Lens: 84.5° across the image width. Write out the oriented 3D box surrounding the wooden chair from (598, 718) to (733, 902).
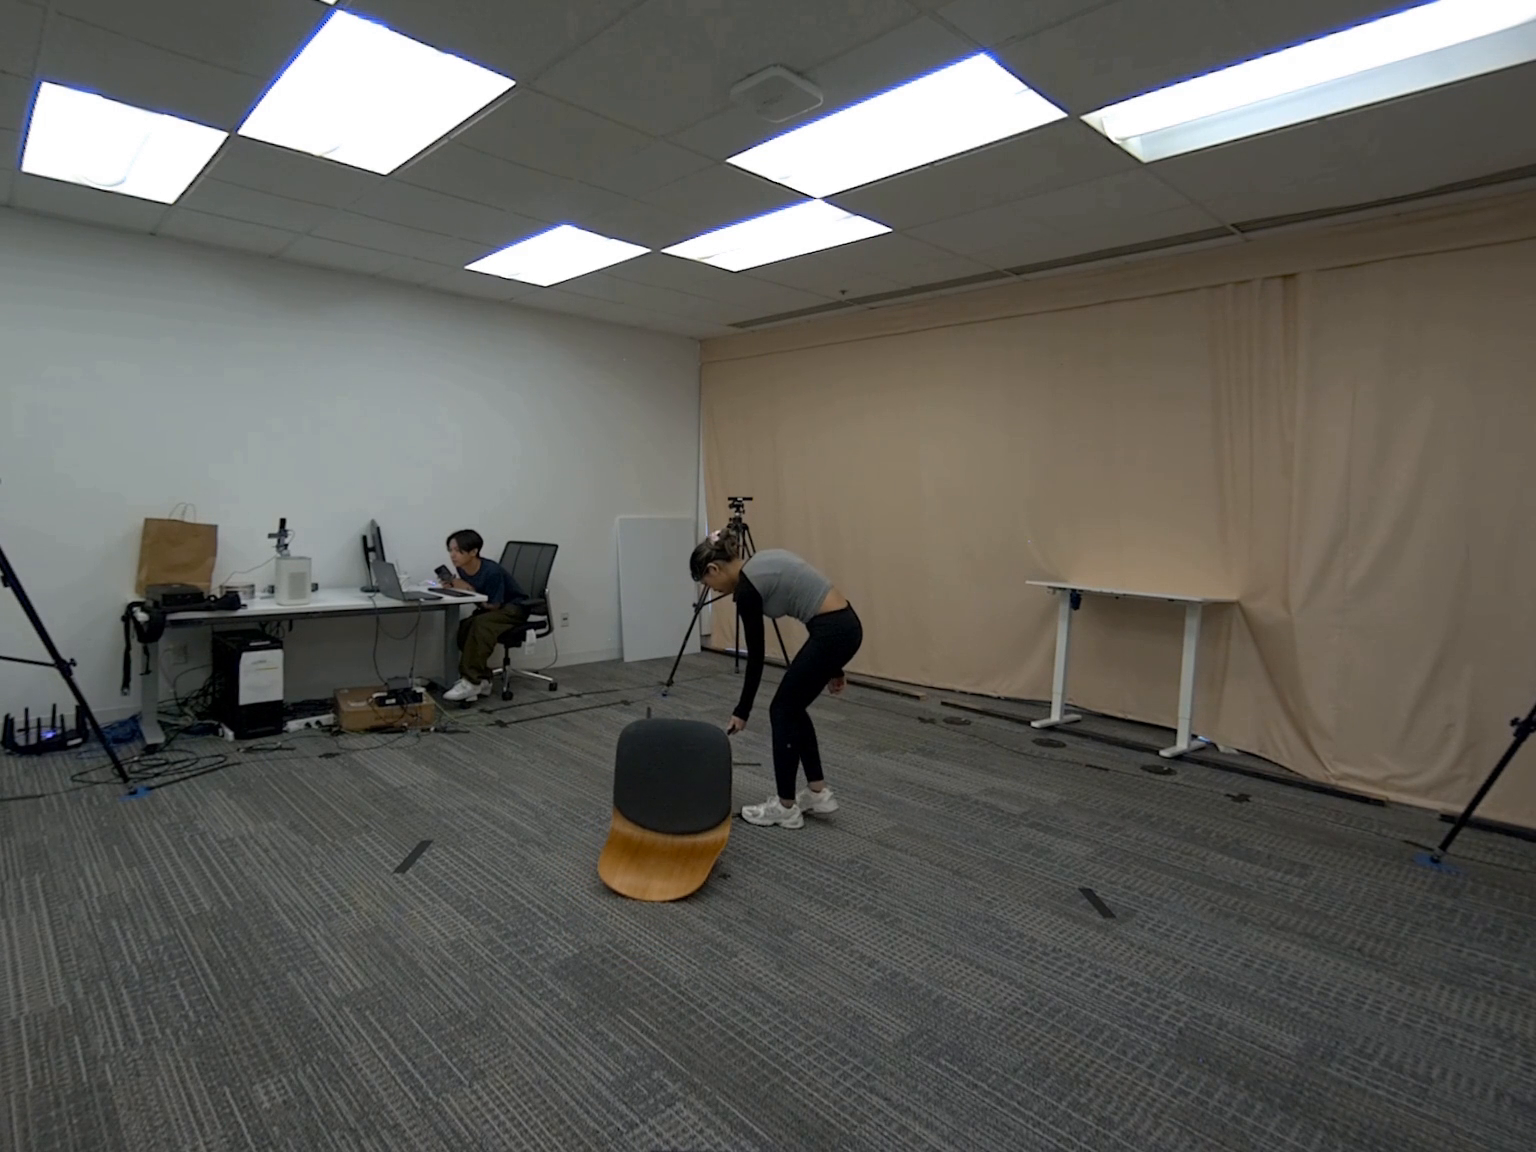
[{"bbox_3d":[-0.383,0.824,3.307,0.481,0.521,0.874,2,5,7],"label":"wooden chair"}]
